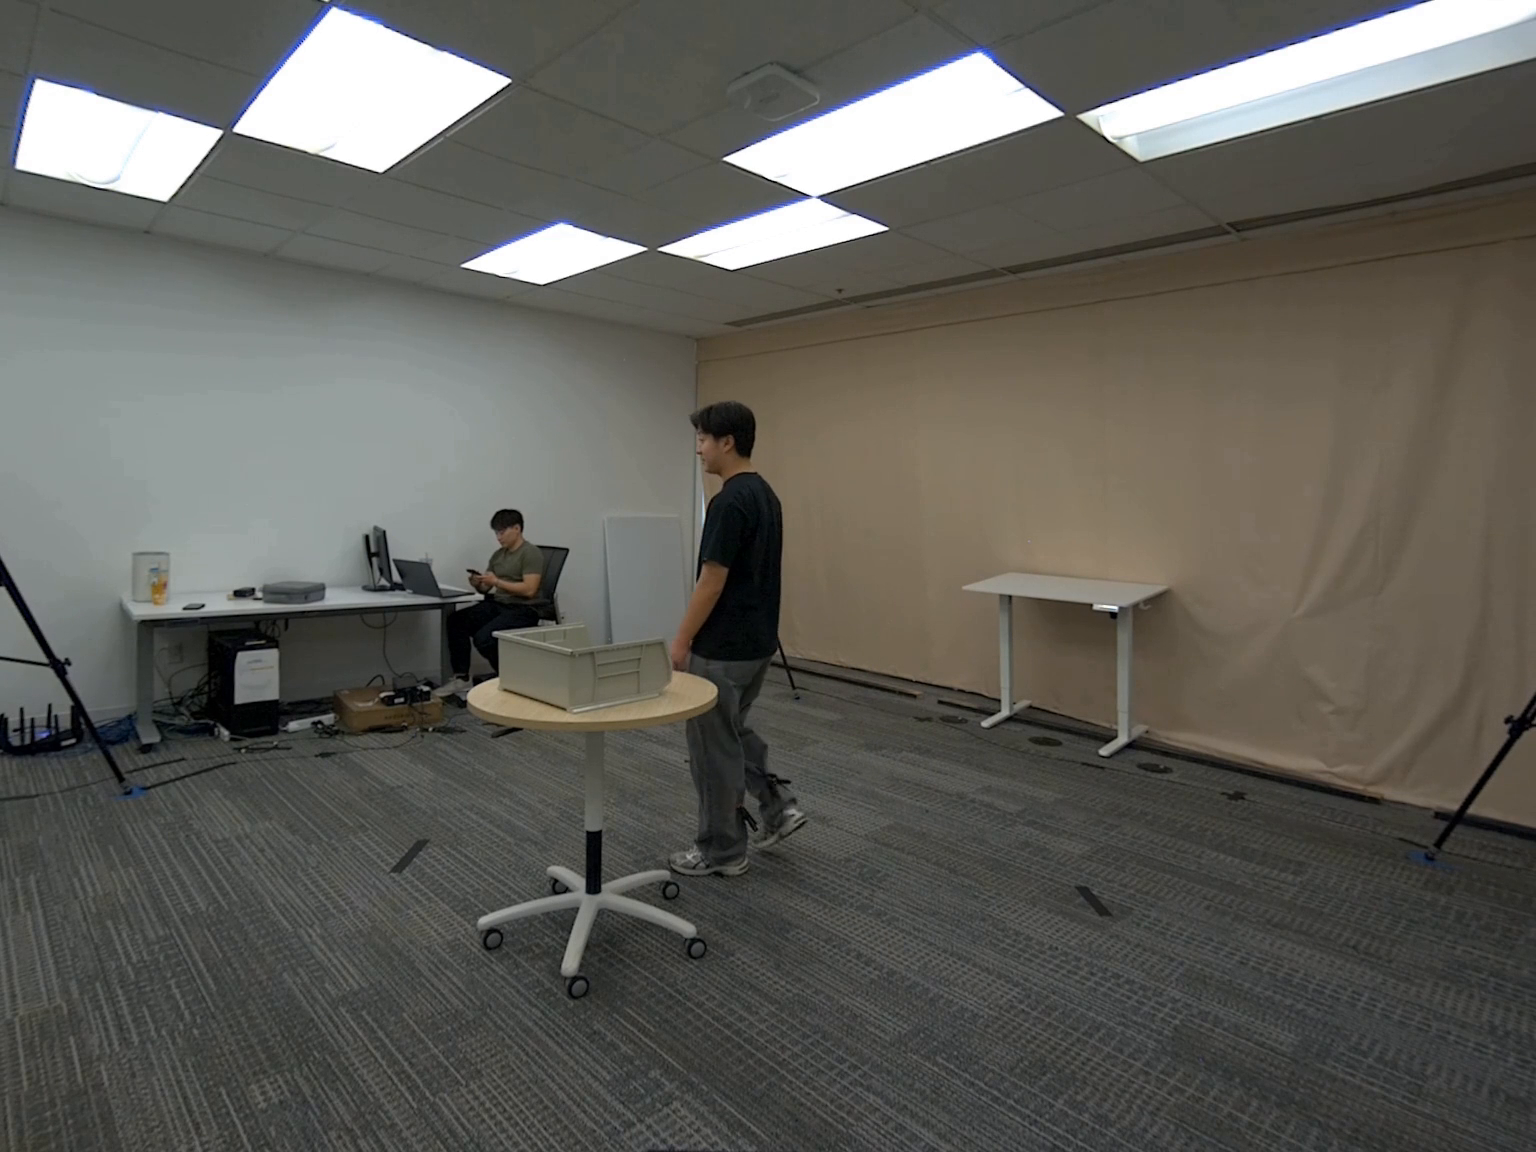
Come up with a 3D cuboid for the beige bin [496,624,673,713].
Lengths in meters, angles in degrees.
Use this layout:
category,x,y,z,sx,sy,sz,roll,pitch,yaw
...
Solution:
category,x,y,z,sx,sy,sz,roll,pitch,yaw
beige bin,-0.573,0.272,2.584,0.433,0.188,0.369,6,7,44
